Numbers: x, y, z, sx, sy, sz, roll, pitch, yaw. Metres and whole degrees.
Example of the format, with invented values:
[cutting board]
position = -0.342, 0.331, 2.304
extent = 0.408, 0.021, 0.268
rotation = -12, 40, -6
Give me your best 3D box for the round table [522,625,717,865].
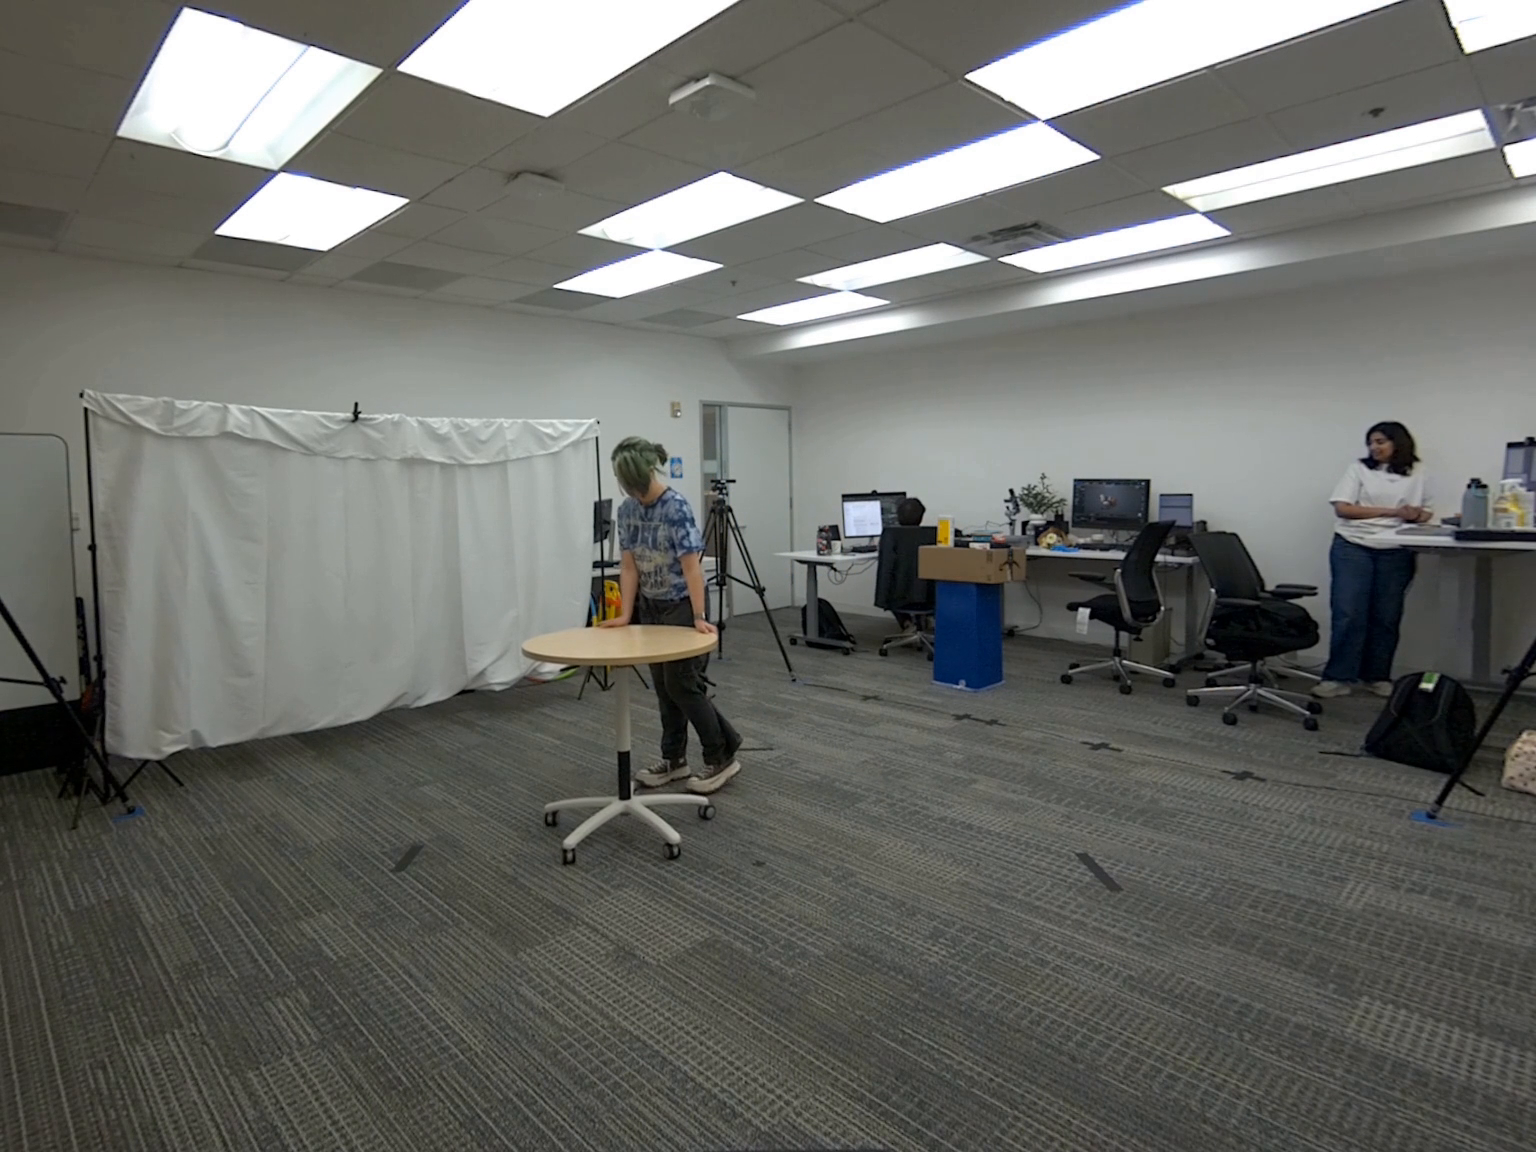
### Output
[round table]
position = -0.576, 0.643, 3.386
extent = 0.763, 0.792, 0.767
rotation = -1, 4, -2
